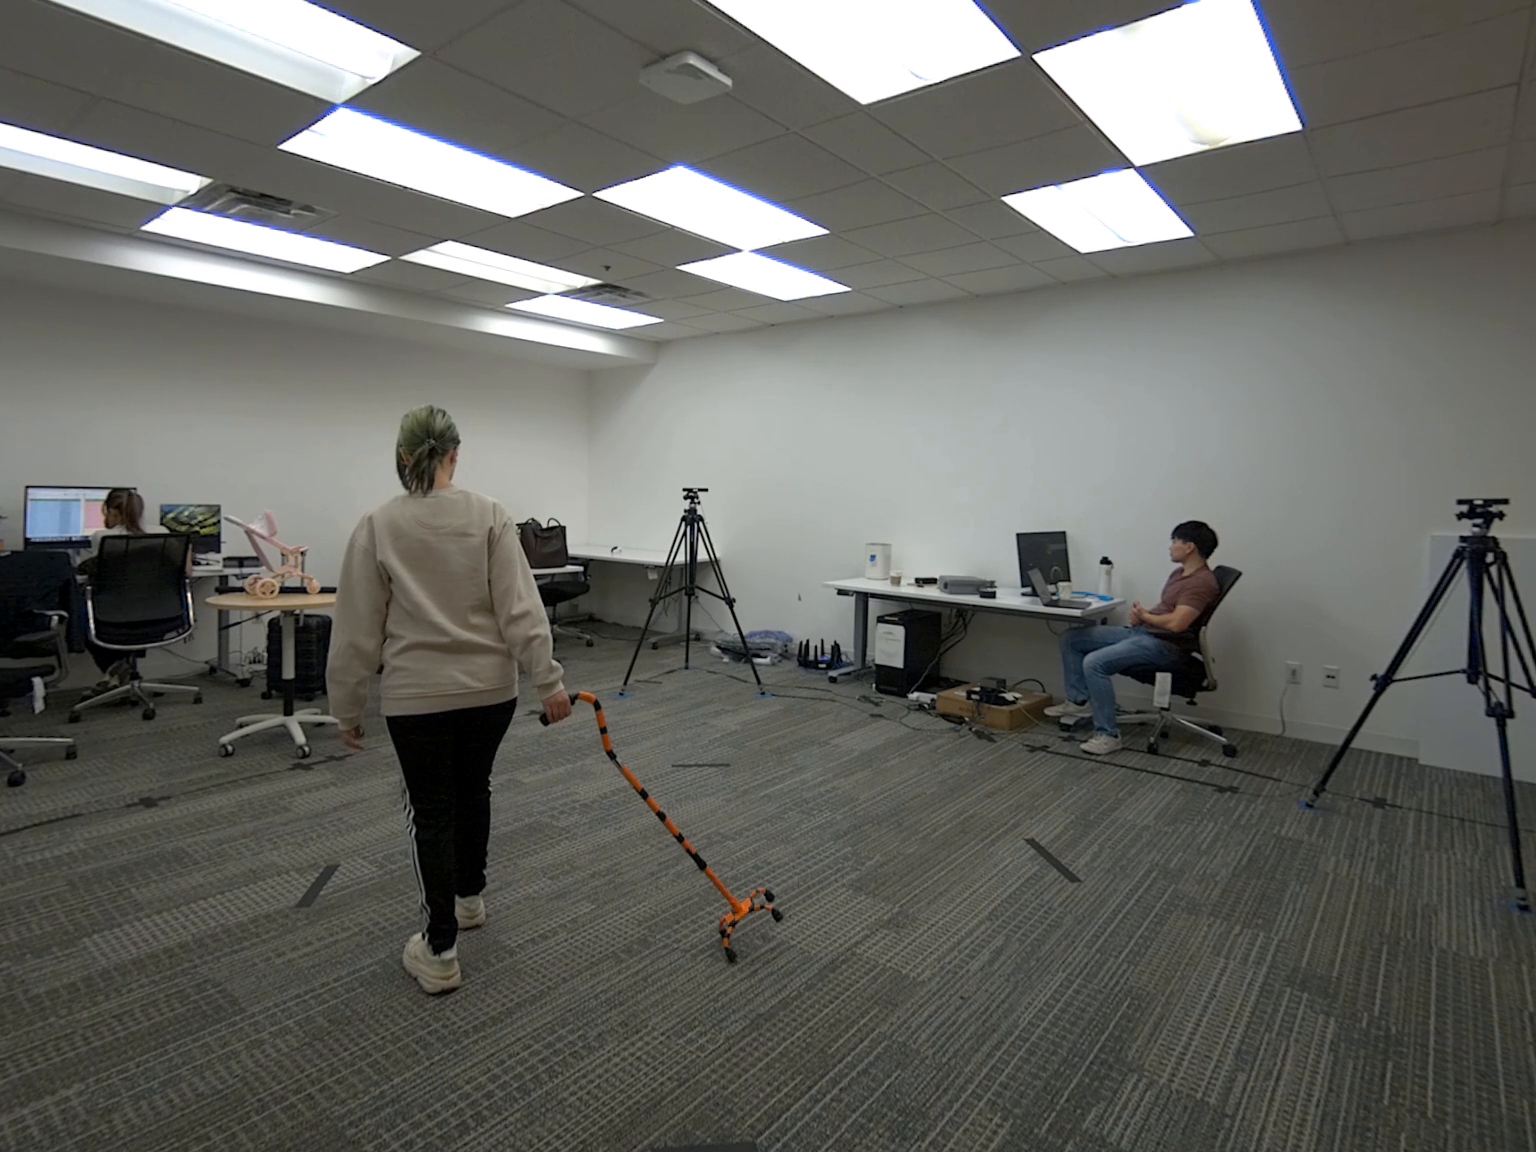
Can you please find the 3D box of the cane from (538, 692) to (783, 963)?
[{"bbox_3d":[-0.320,0.713,2.516,0.206,0.899,0.153,-38,7,-3],"label":"cane"}]
